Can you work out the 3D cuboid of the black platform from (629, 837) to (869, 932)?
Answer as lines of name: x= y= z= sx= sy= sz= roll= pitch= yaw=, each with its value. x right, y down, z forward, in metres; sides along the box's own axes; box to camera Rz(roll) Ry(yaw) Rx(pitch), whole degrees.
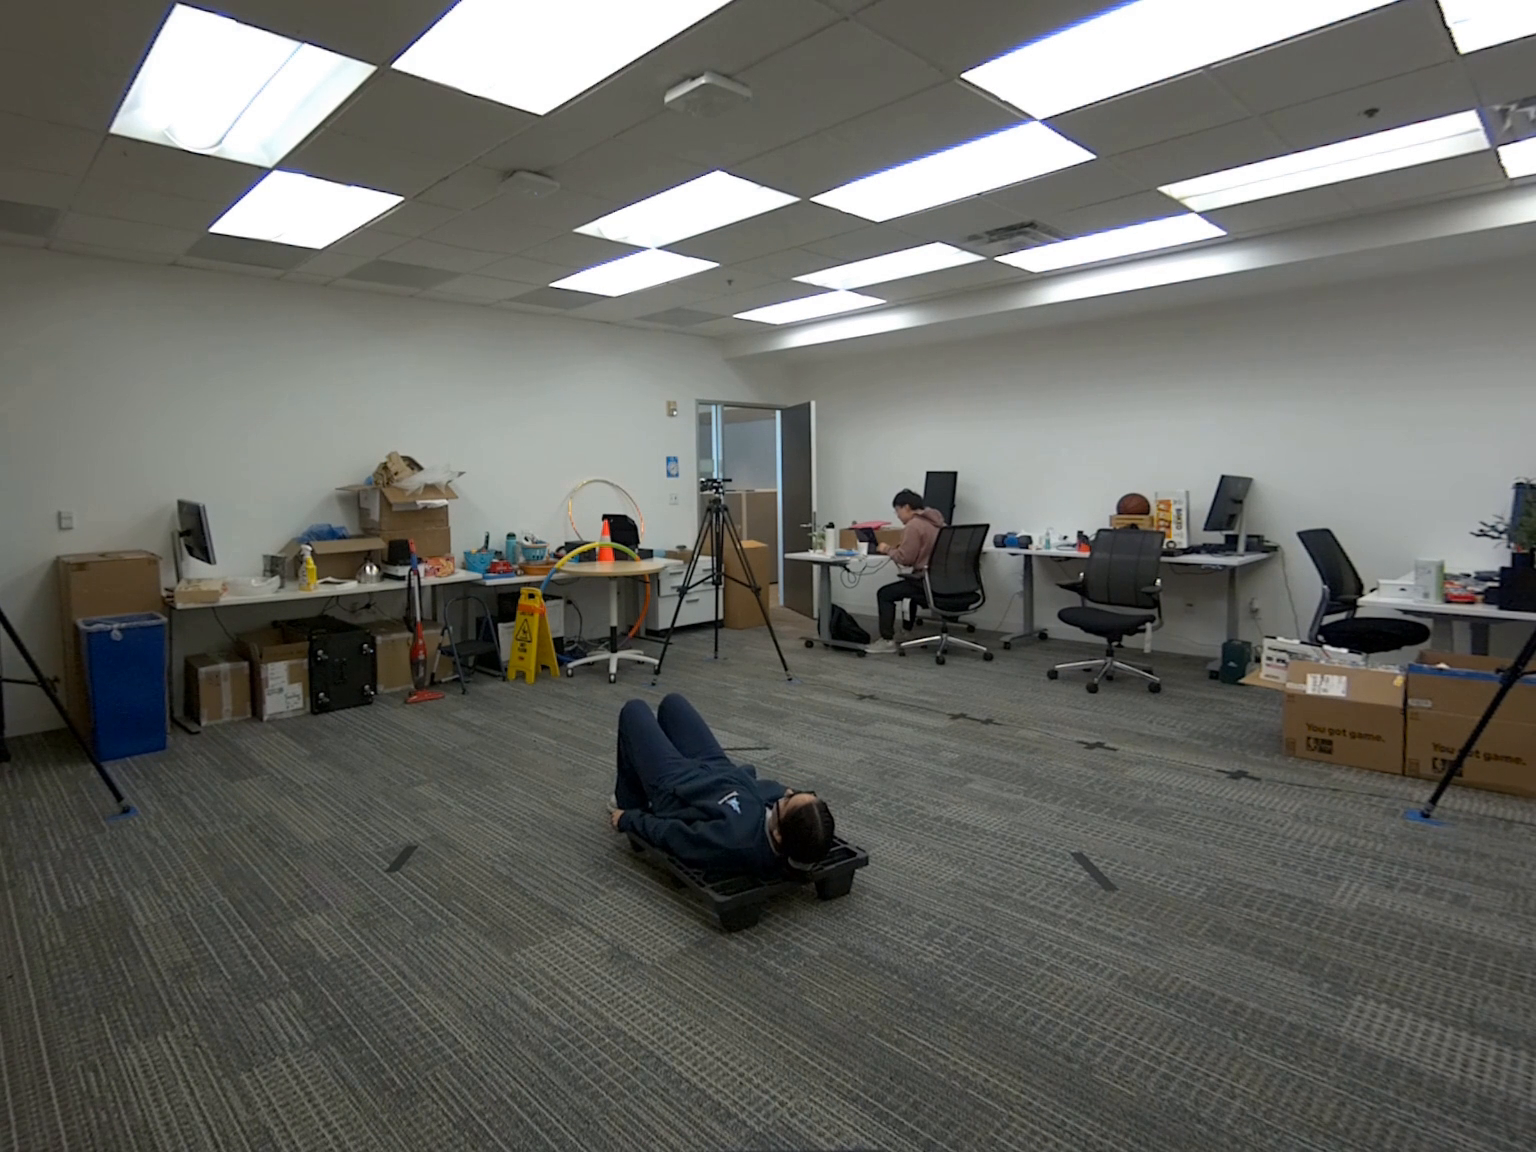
black platform: x=-0.125 y=0.991 z=3.044 sx=0.590 sy=0.143 sz=0.828 roll=-4 pitch=7 yaw=-31
